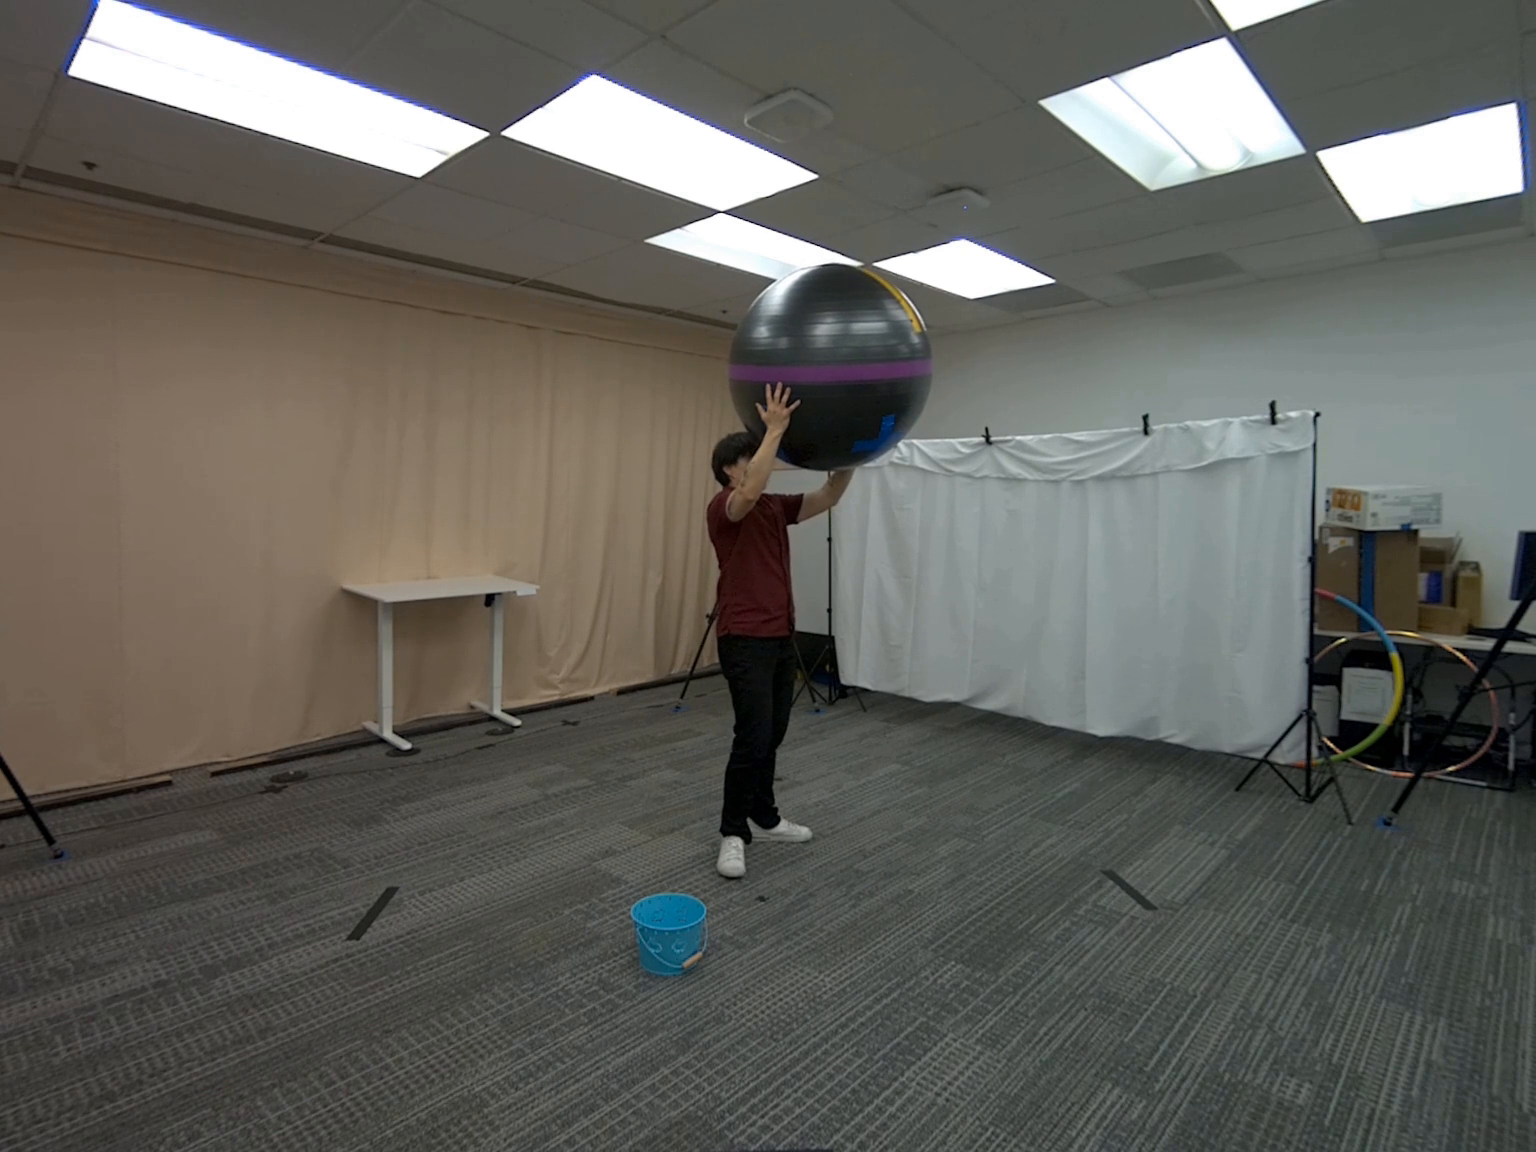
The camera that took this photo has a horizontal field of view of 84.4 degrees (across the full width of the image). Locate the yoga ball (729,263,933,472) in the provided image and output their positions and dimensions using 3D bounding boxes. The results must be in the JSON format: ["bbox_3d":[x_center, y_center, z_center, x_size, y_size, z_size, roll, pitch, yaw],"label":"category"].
[{"bbox_3d":[0.234,-0.775,3.179,0.757,0.756,0.760,0,4,-2],"label":"yoga ball"}]
